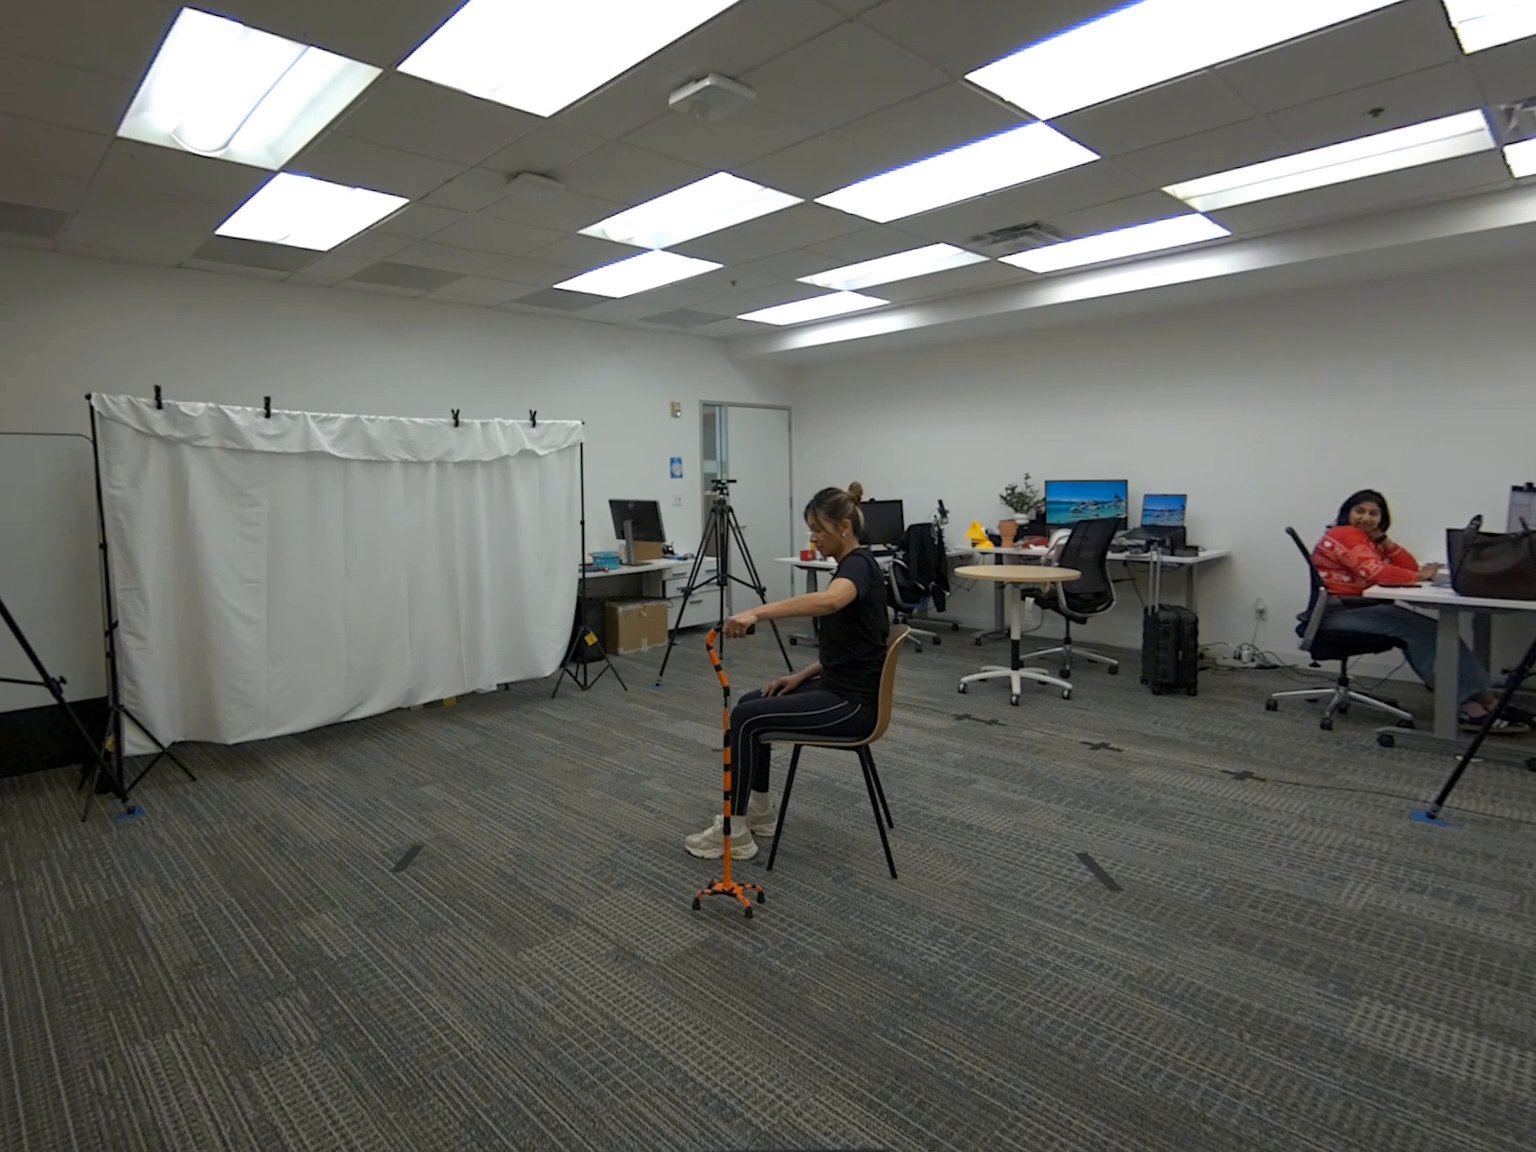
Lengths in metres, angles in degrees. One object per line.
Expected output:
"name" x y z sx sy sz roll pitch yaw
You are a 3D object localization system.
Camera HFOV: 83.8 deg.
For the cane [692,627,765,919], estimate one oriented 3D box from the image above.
"cane" -0.126 0.610 2.754 0.210 0.907 0.149 -1 1 18
